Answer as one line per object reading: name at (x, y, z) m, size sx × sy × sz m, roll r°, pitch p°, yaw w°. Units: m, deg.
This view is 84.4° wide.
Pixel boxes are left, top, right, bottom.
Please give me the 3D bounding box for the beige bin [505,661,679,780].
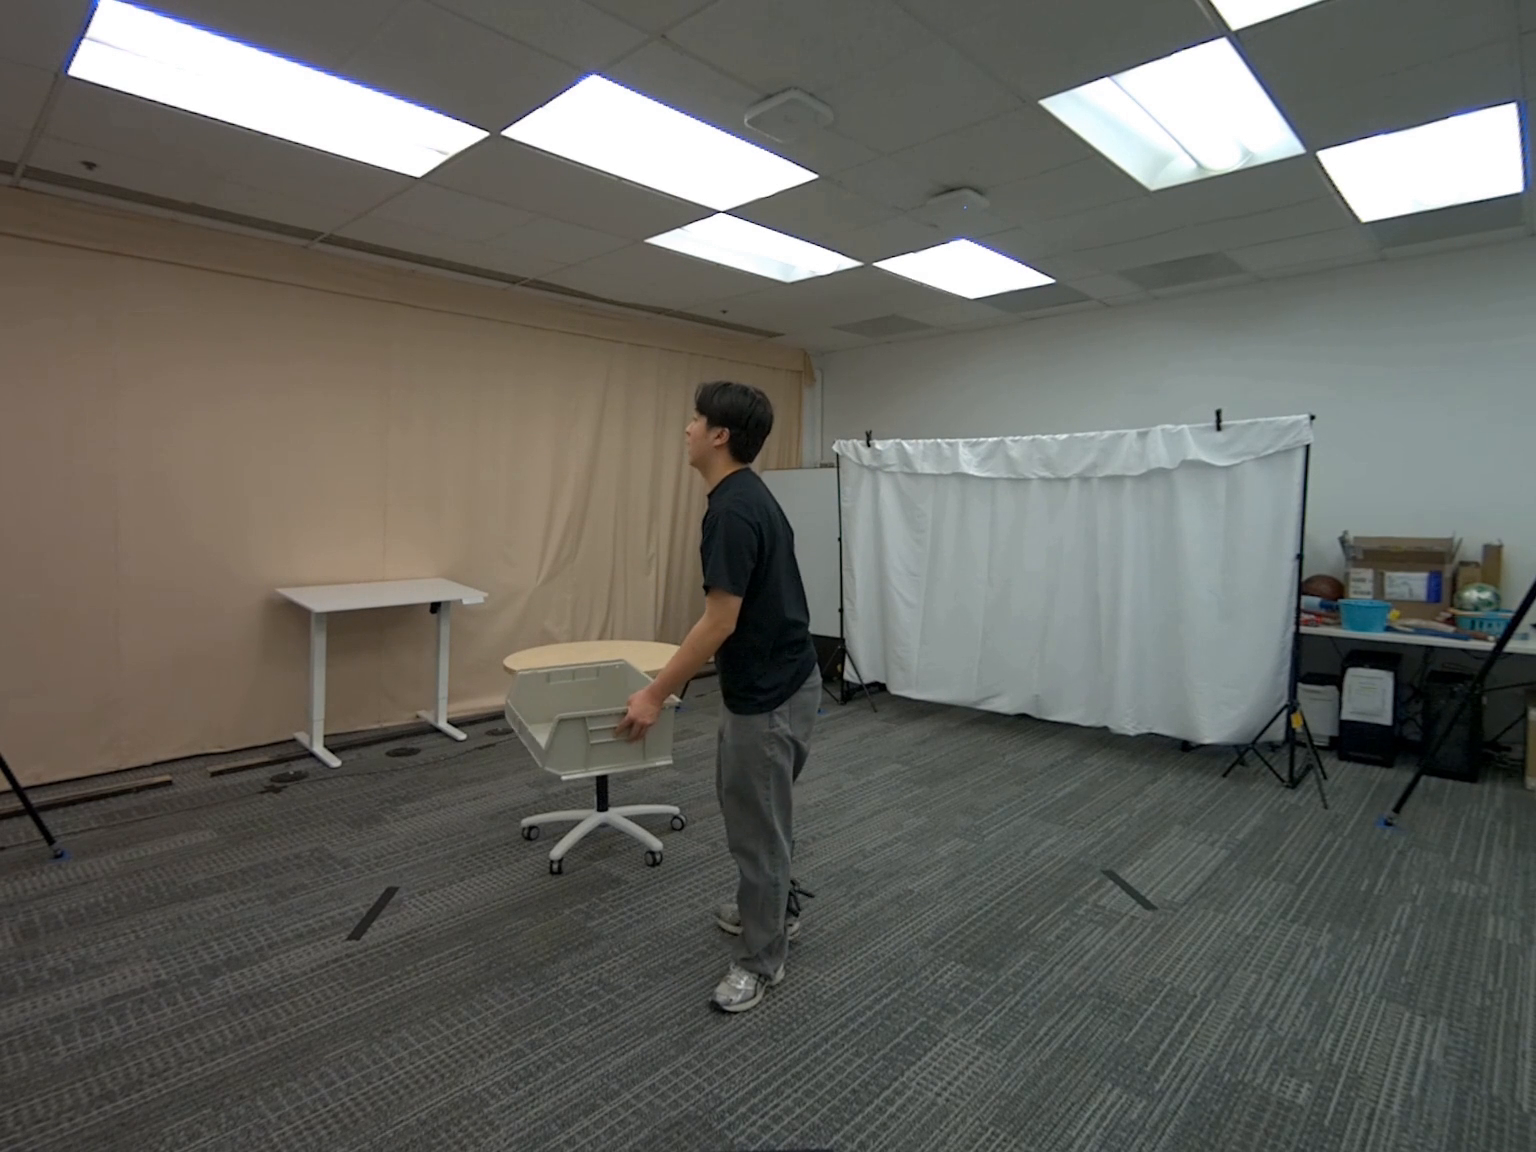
beige bin at (-0.497, 0.397, 2.379) m, size 0.367 × 0.188 × 0.436 m, roll -2°, pitch 10°, yaw -29°
